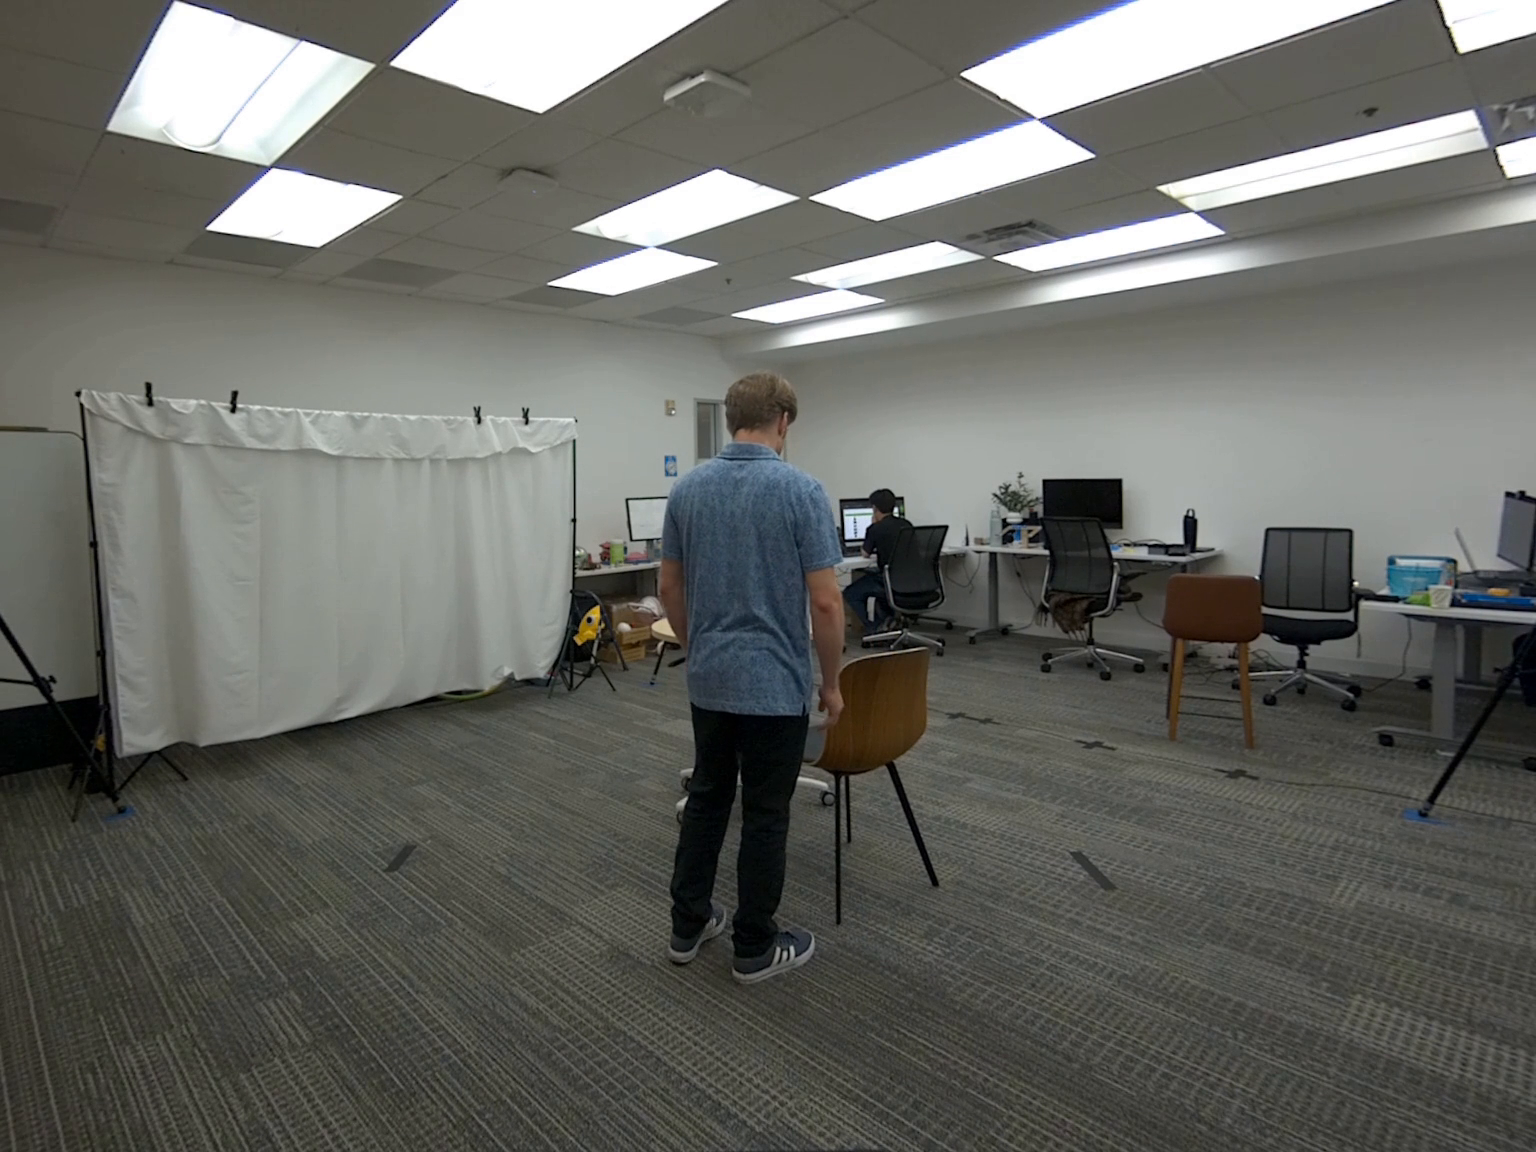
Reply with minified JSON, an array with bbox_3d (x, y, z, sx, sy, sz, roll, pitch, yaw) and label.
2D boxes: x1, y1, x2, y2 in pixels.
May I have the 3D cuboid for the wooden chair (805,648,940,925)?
[{"bbox_3d":[0.257,0.629,2.944,0.466,0.871,0.540,-4,10,-35],"label":"wooden chair"}]
